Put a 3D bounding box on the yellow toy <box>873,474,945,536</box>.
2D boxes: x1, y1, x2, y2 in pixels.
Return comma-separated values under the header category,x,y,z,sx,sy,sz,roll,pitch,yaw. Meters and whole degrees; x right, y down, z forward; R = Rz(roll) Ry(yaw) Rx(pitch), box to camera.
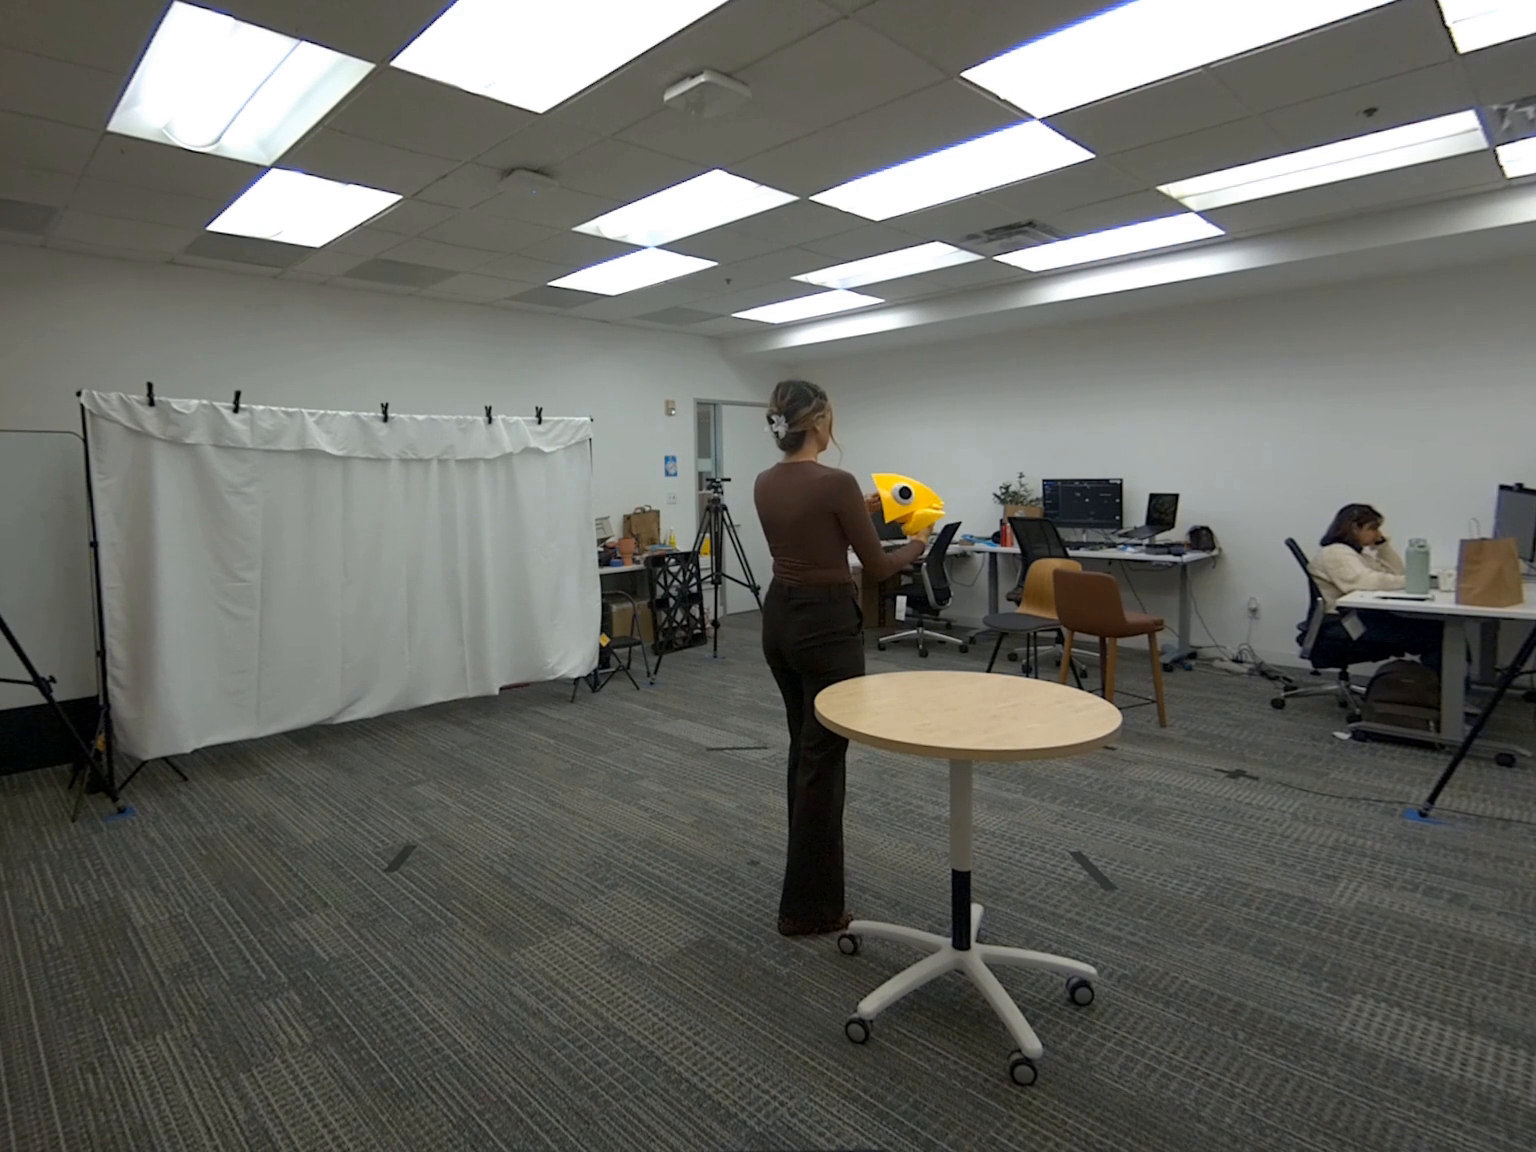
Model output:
category,x,y,z,sx,sy,sz,roll,pitch,yaw
yellow toy,0.466,-0.286,2.946,0.194,0.228,0.205,-30,9,18
